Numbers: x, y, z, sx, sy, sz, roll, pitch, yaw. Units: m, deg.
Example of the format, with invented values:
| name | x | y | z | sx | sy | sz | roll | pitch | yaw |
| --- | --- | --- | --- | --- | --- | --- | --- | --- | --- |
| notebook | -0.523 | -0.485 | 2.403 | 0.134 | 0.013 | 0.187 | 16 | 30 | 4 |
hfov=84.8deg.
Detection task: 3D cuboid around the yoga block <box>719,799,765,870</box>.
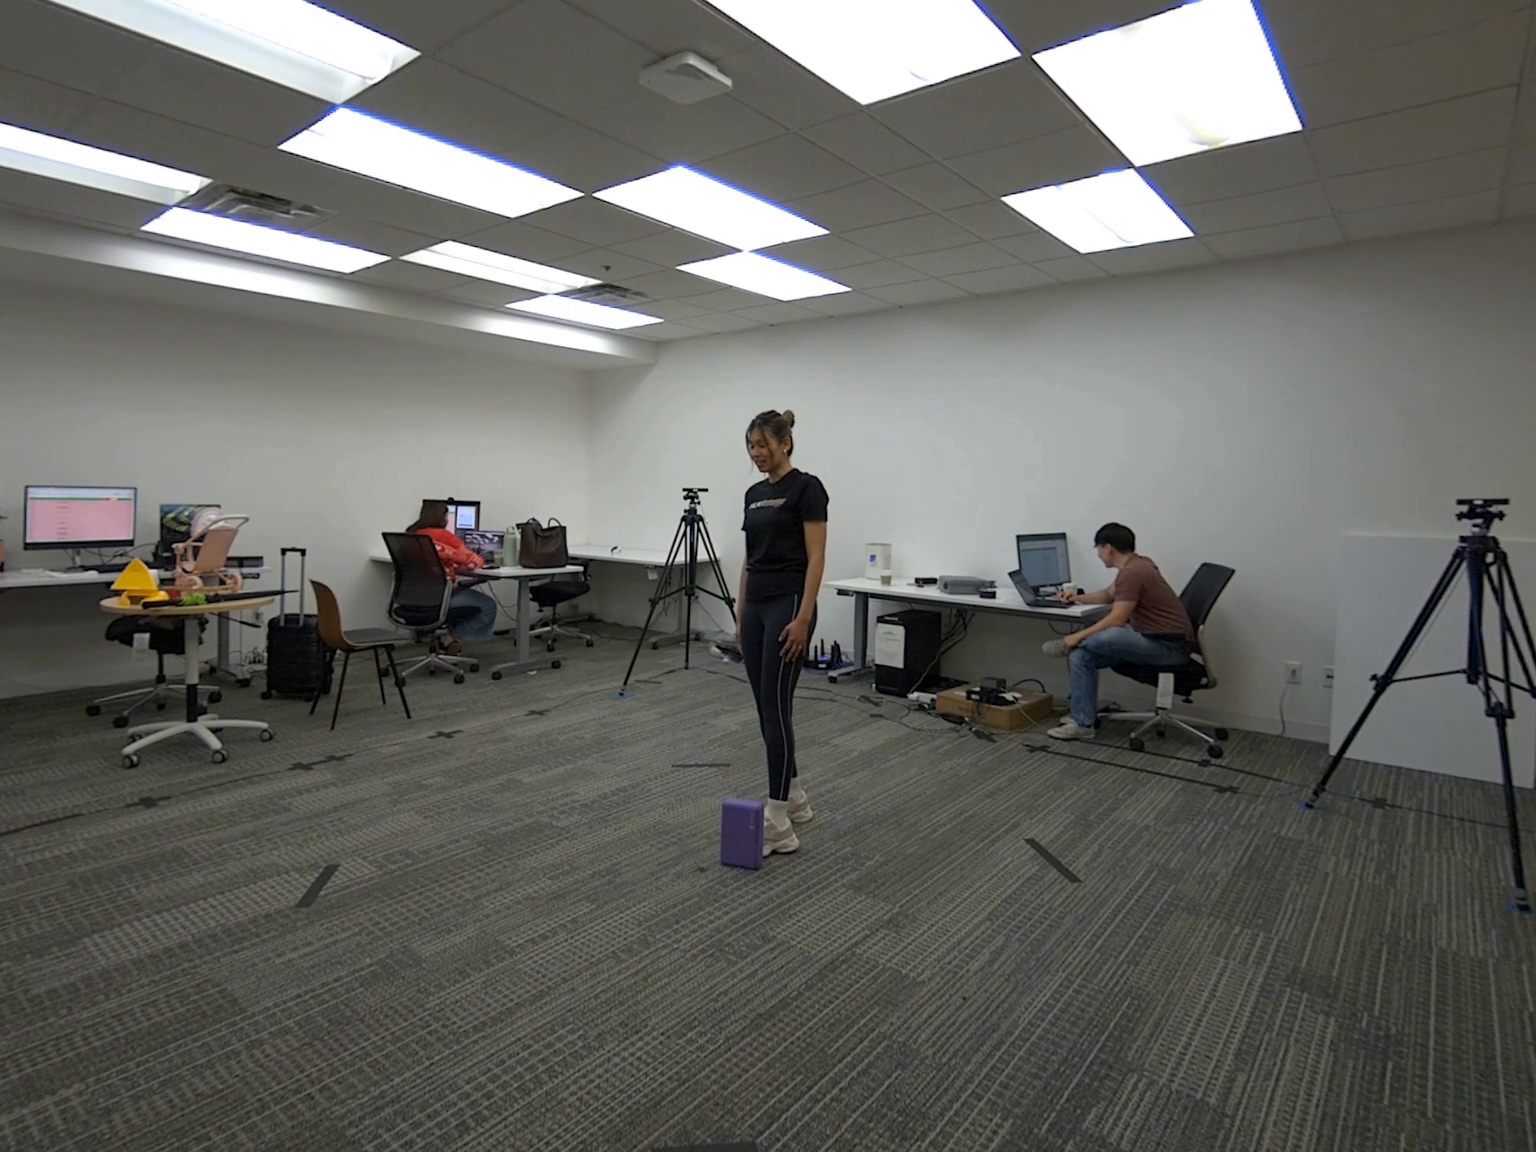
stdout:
| name | x | y | z | sx | sy | sz | roll | pitch | yaw |
| --- | --- | --- | --- | --- | --- | --- | --- | --- | --- |
| yoga block | -0.106 | 0.950 | 3.150 | 0.152 | 0.229 | 0.075 | 2 | 2 | 19 |
